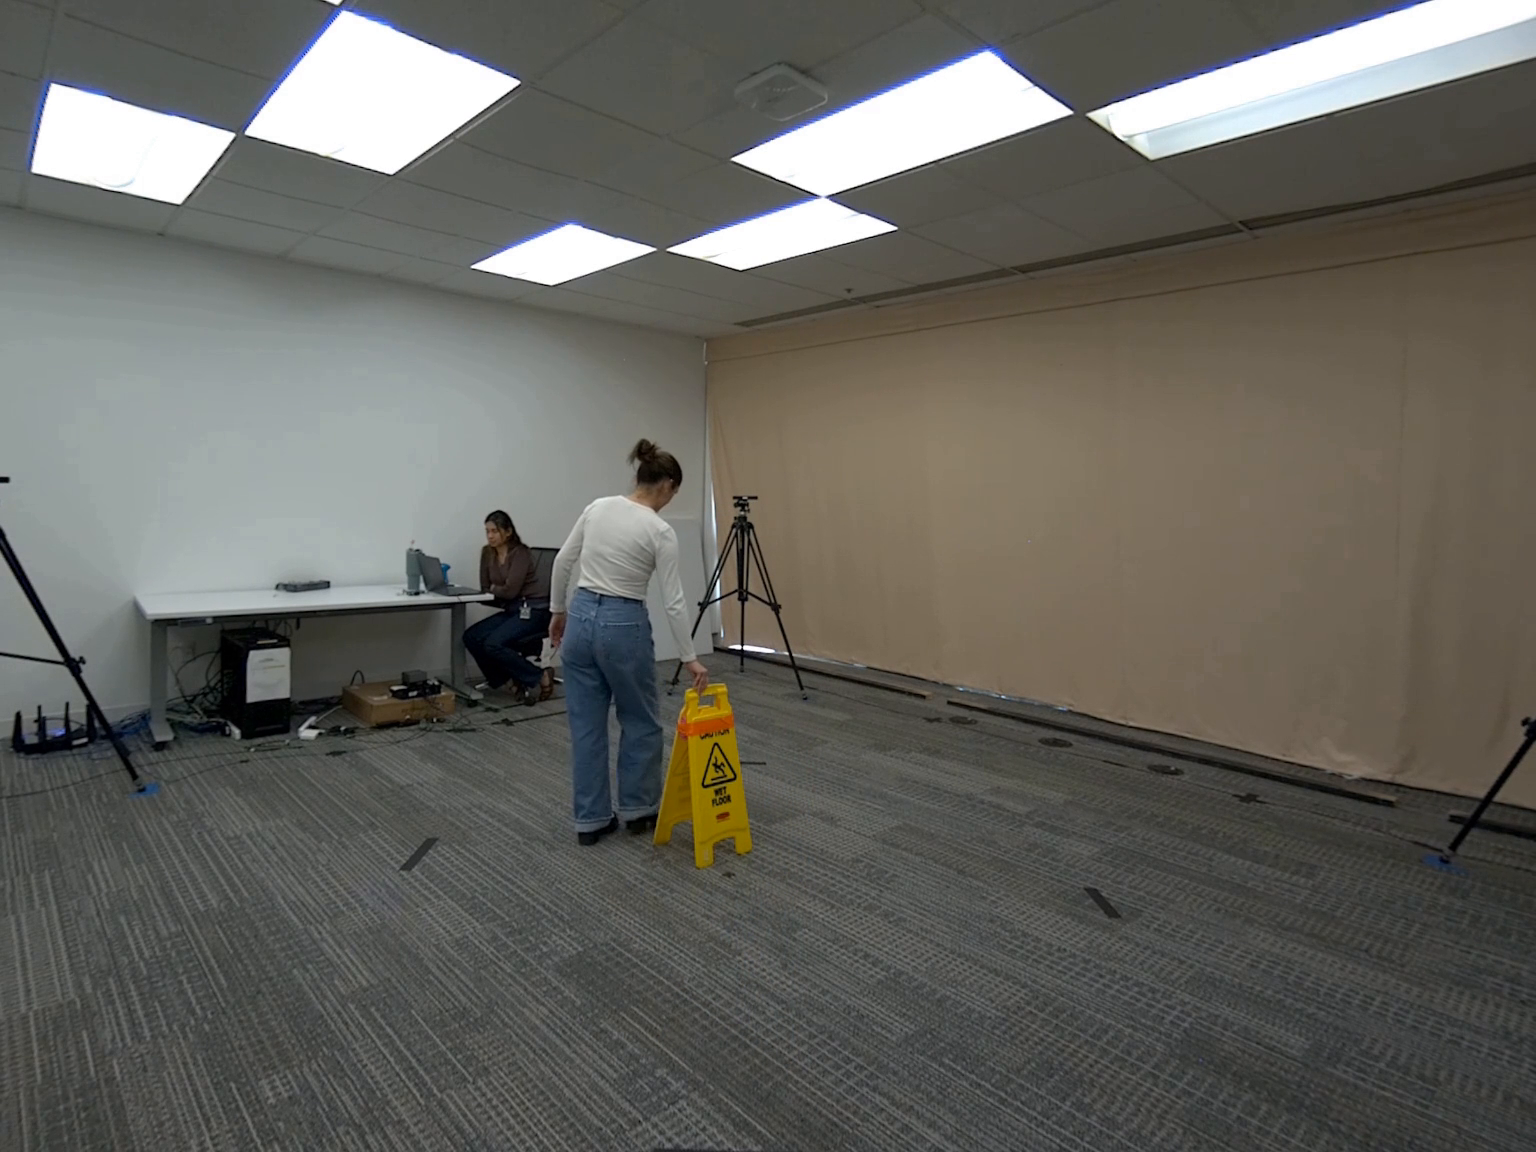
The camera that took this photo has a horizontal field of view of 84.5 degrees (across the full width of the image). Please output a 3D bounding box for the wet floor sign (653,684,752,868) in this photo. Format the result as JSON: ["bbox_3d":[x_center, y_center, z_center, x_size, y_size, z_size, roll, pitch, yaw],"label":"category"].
[{"bbox_3d":[-0.261,0.755,3.325,0.275,0.645,0.297,0,3,-43],"label":"wet floor sign"}]
